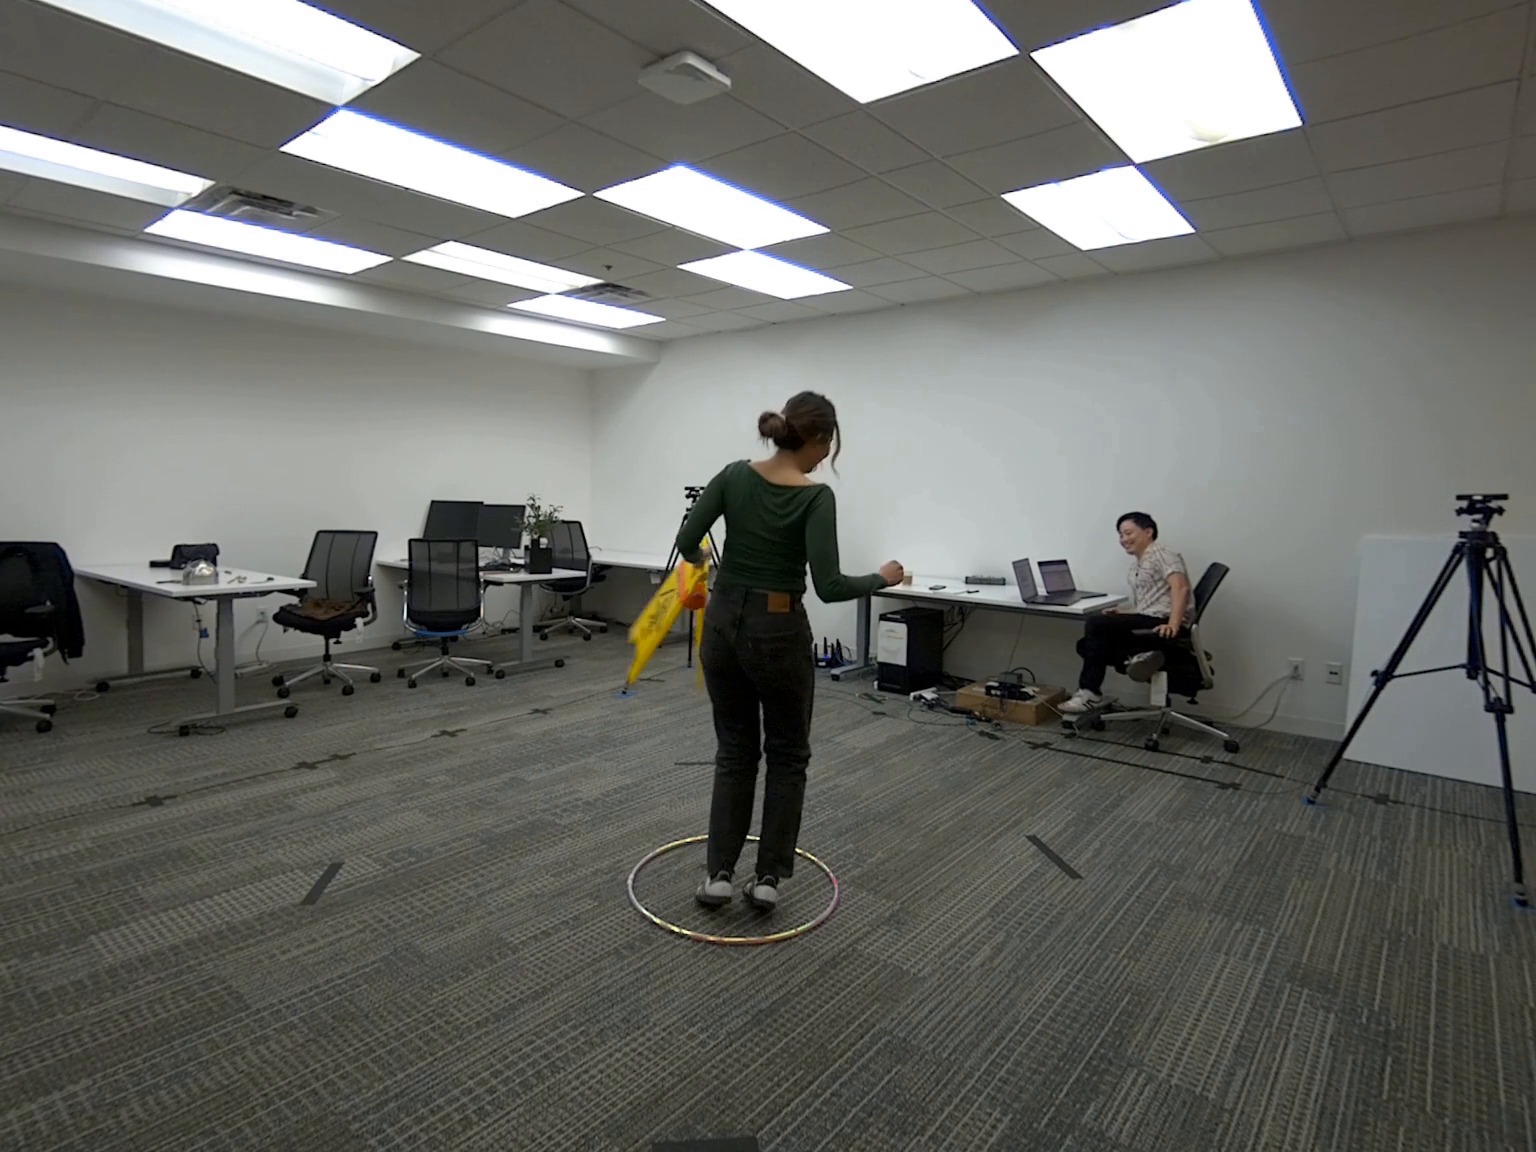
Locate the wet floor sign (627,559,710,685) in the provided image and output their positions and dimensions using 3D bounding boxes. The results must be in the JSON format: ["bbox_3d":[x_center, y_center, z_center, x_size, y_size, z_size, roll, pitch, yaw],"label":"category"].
[{"bbox_3d":[-0.307,0.133,3.202,0.285,0.637,0.291,10,44,-15],"label":"wet floor sign"}]
